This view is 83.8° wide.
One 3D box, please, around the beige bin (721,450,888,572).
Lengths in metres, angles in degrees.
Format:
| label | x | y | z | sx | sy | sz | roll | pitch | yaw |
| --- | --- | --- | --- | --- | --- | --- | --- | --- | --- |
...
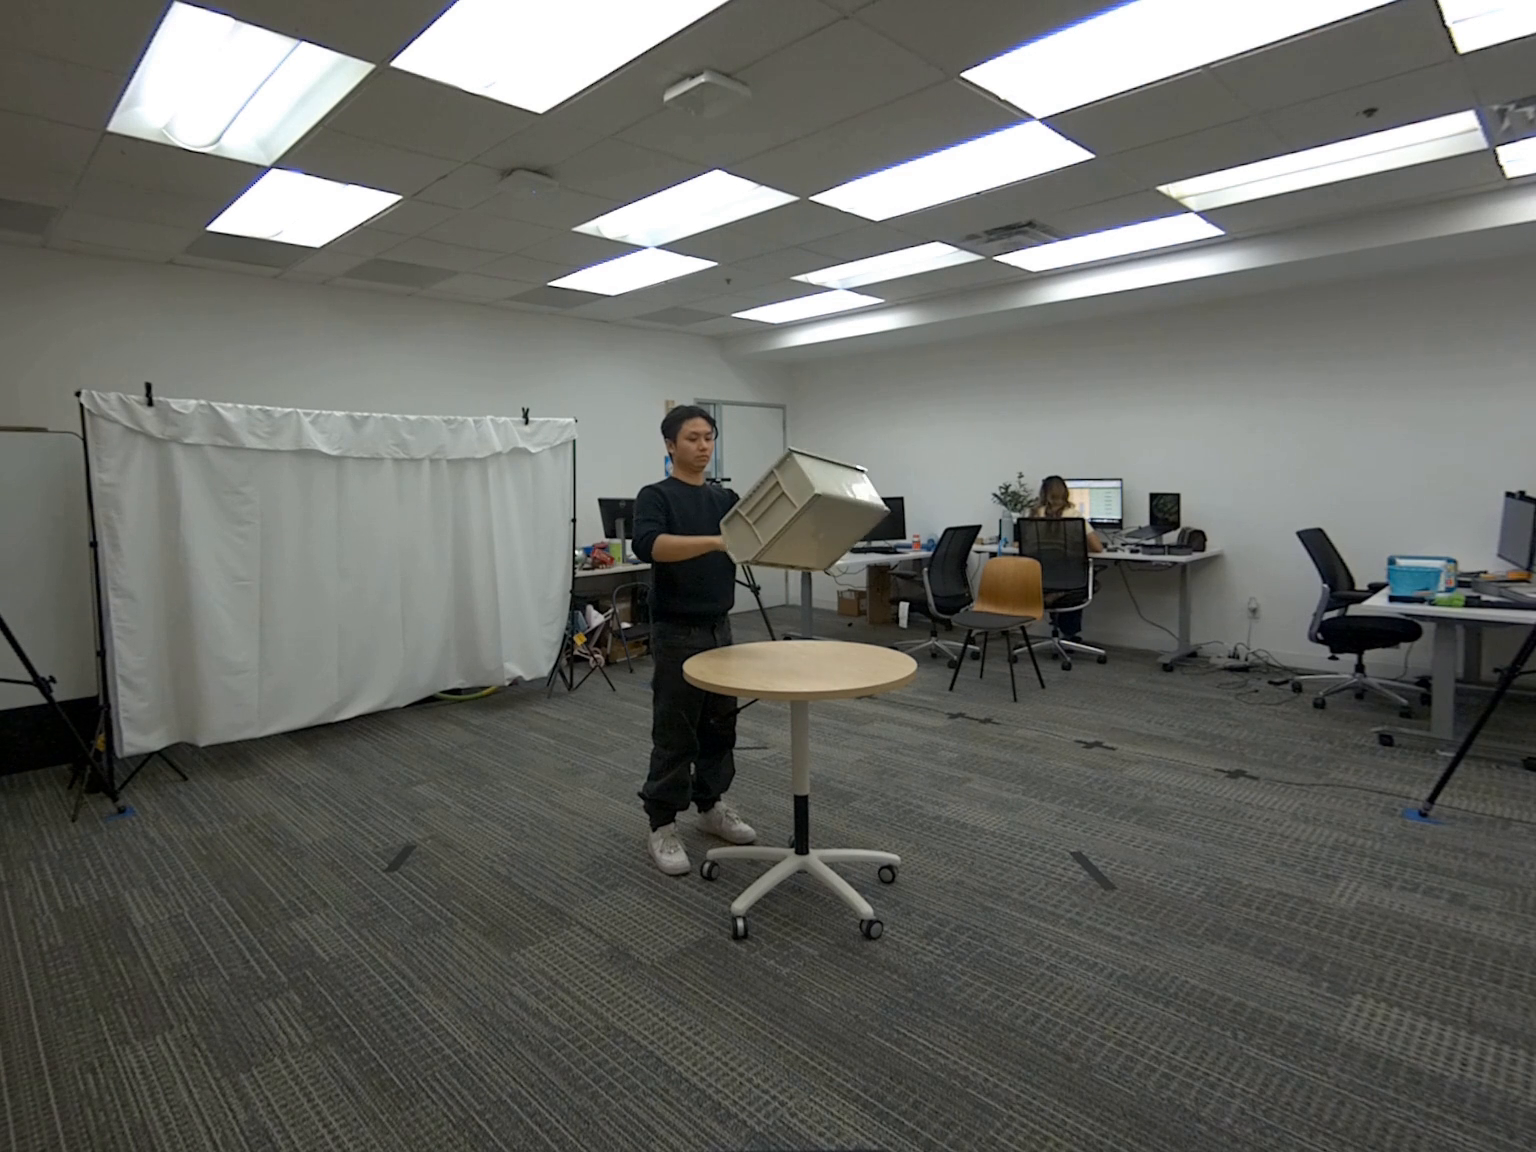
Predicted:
| label | x | y | z | sx | sy | sz | roll | pitch | yaw |
| --- | --- | --- | --- | --- | --- | --- | --- | --- | --- |
| beige bin | 0.122 | -0.174 | 2.722 | 0.409 | 0.195 | 0.377 | 7 | -45 | -49 |
